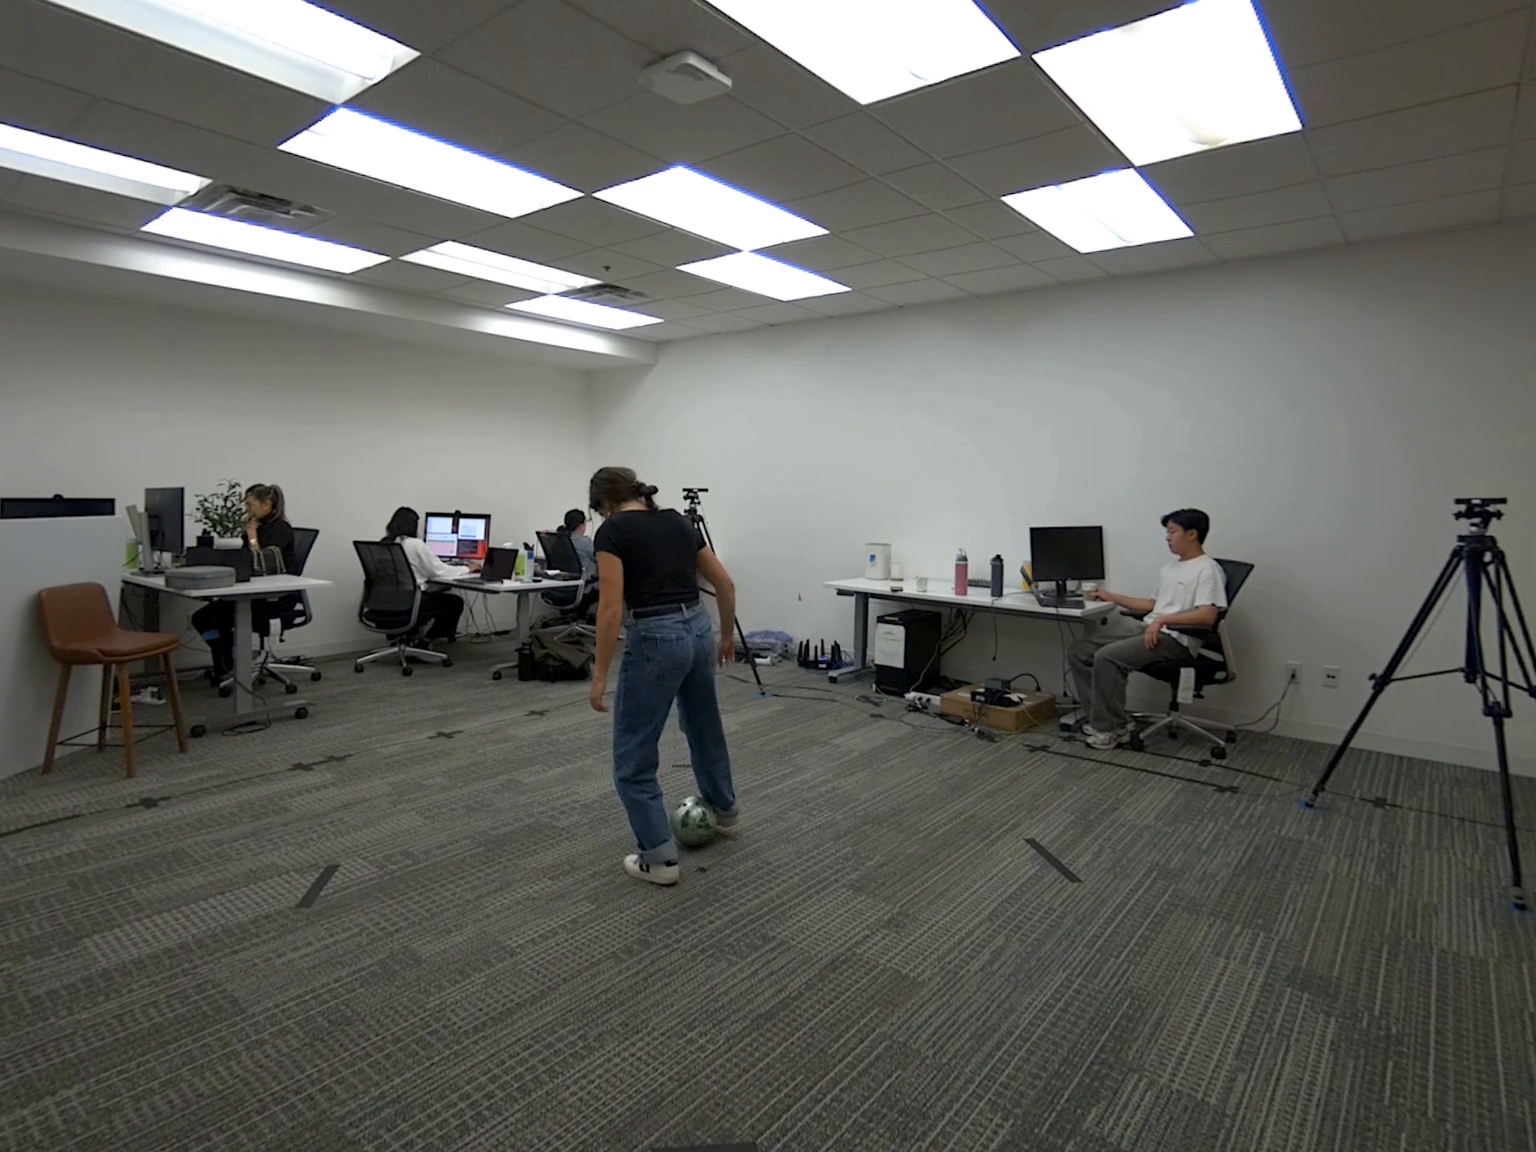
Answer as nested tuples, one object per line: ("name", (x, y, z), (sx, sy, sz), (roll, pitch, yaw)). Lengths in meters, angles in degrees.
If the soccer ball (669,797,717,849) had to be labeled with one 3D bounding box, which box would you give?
("soccer ball", (-0.306, 0.953, 3.306), (0.187, 0.187, 0.188), (1, 4, -2))
